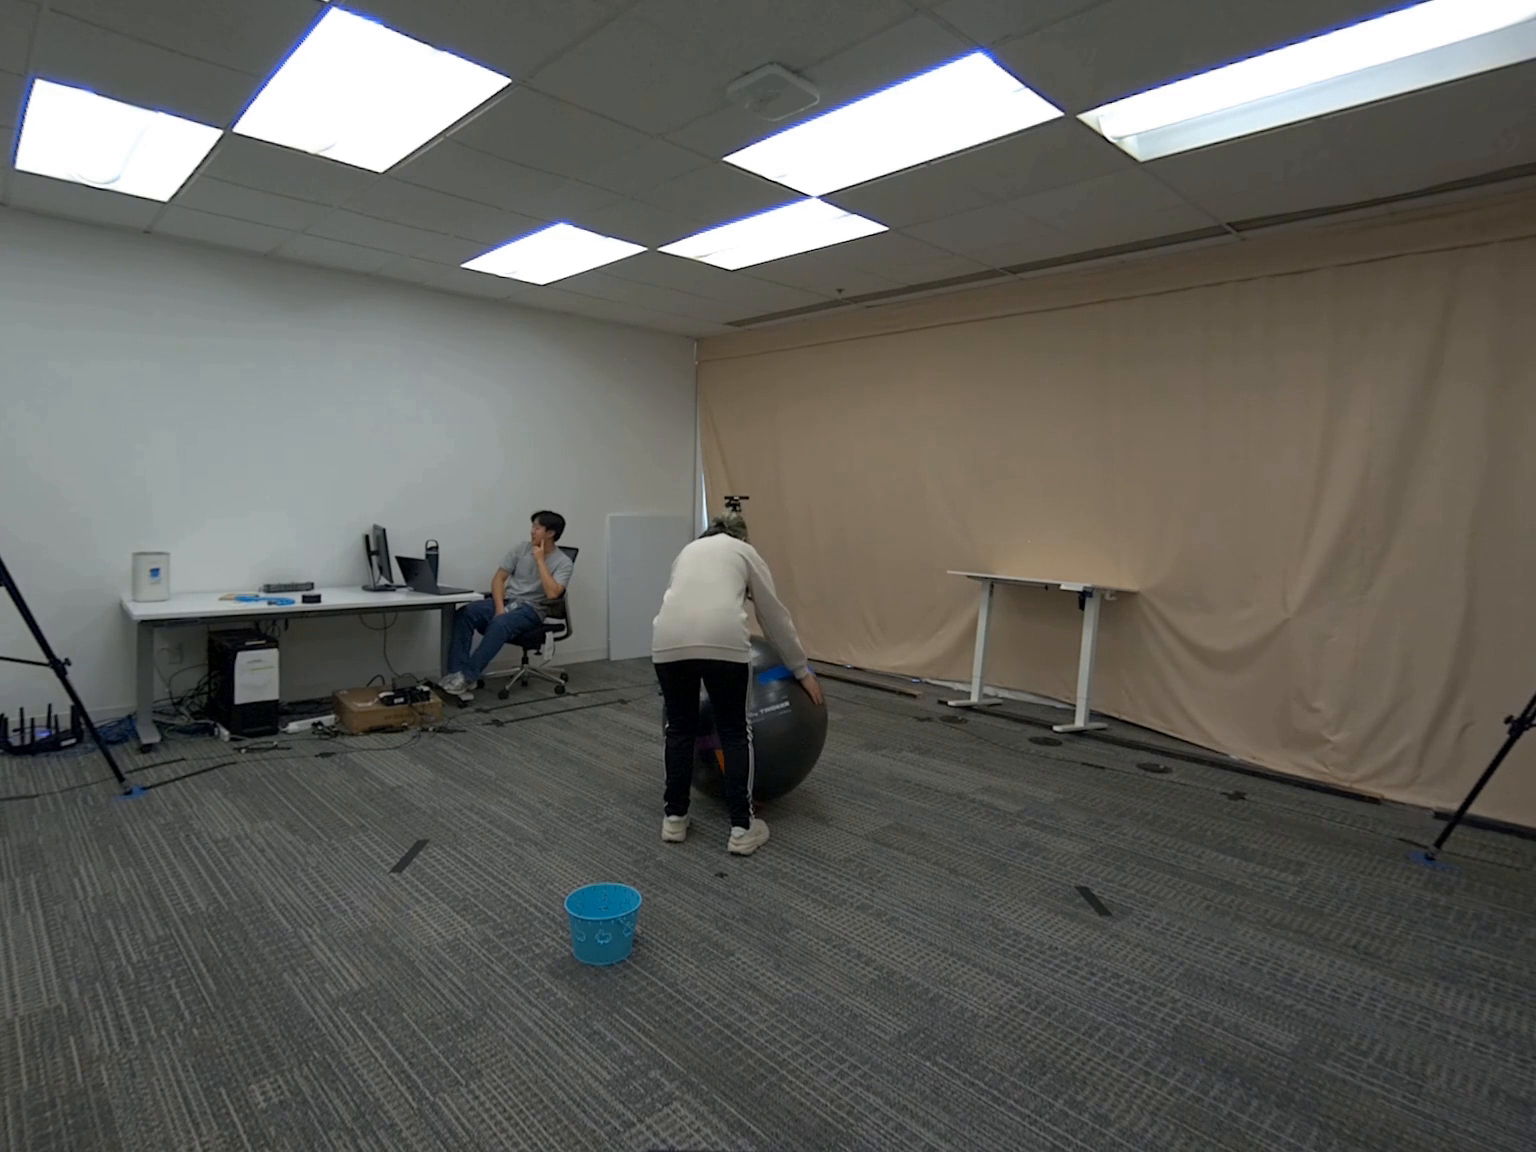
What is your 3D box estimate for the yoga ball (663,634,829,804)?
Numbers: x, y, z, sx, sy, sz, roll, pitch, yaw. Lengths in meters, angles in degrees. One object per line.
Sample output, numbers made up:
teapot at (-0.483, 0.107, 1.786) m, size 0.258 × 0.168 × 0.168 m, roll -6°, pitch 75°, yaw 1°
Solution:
yoga ball at (-0.115, 0.644, 3.835) m, size 0.757 × 0.756 × 0.761 m, roll 1°, pitch 4°, yaw -1°
